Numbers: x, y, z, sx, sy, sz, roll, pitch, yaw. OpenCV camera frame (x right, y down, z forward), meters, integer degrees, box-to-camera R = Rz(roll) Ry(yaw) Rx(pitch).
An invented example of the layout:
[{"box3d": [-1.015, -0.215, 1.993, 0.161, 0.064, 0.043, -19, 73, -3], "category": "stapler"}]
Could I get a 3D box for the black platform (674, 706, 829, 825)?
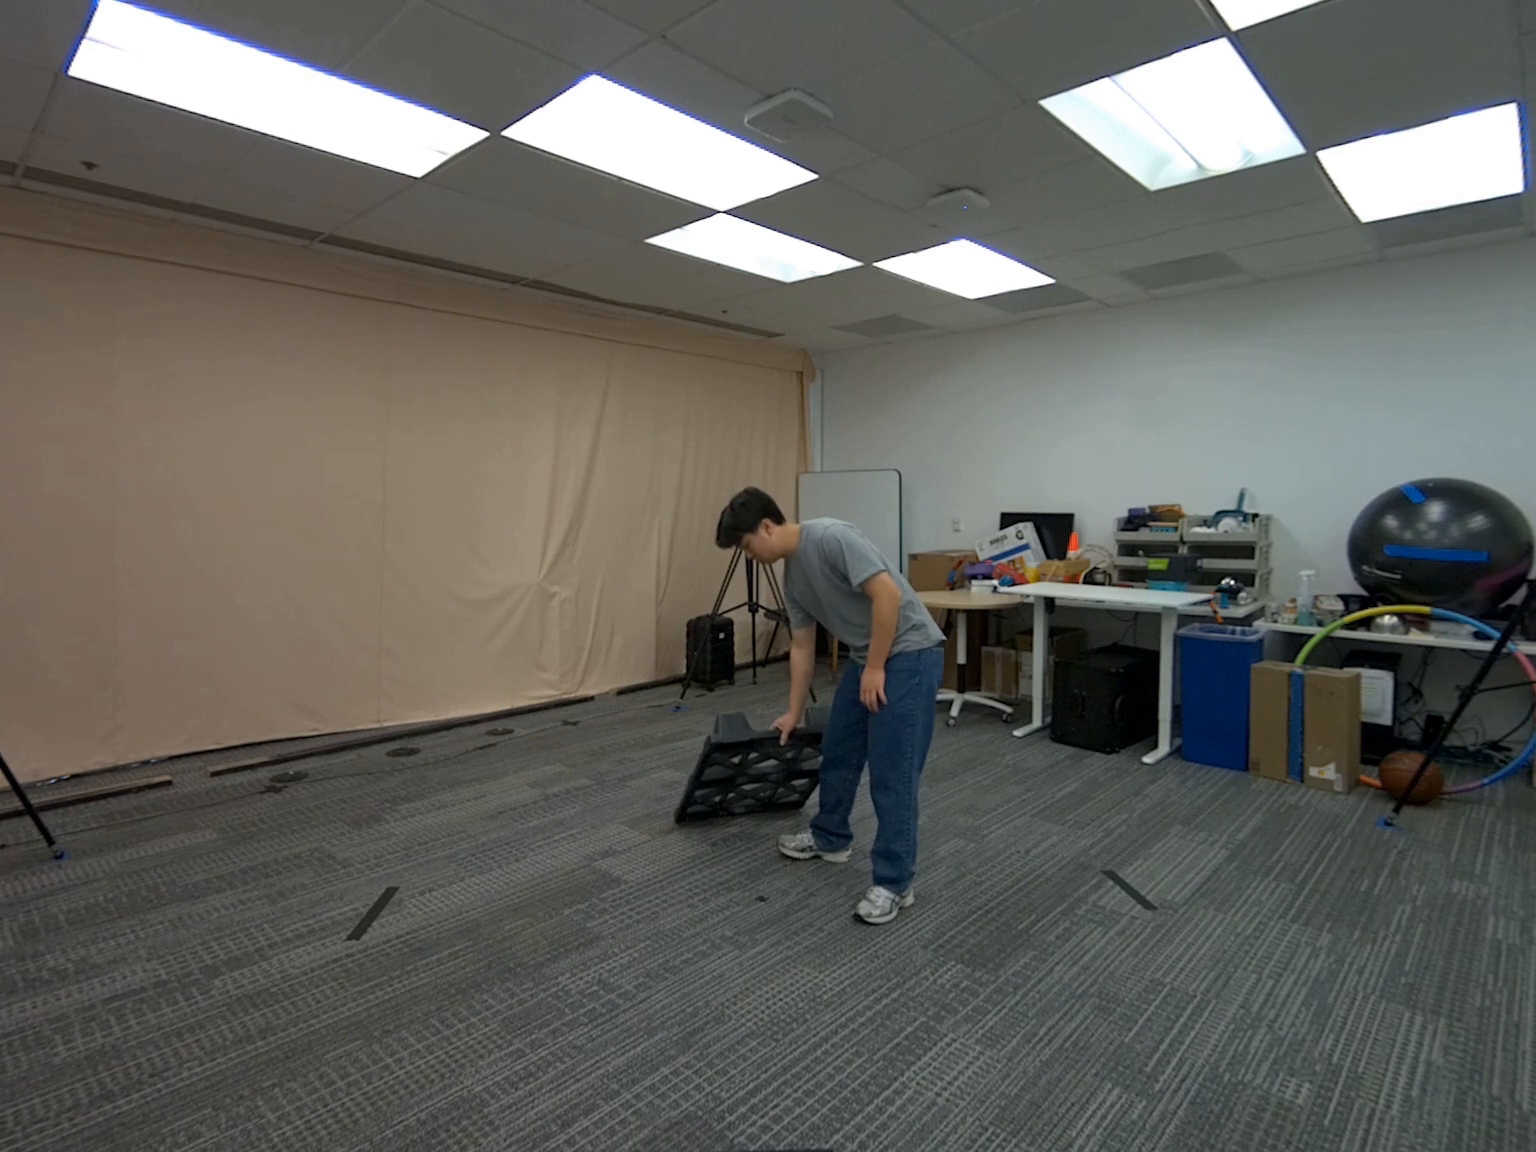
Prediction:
[{"box3d": [-0.042, 0.793, 3.517, 0.594, 0.147, 0.800, -1, -36, -18], "category": "black platform"}]
